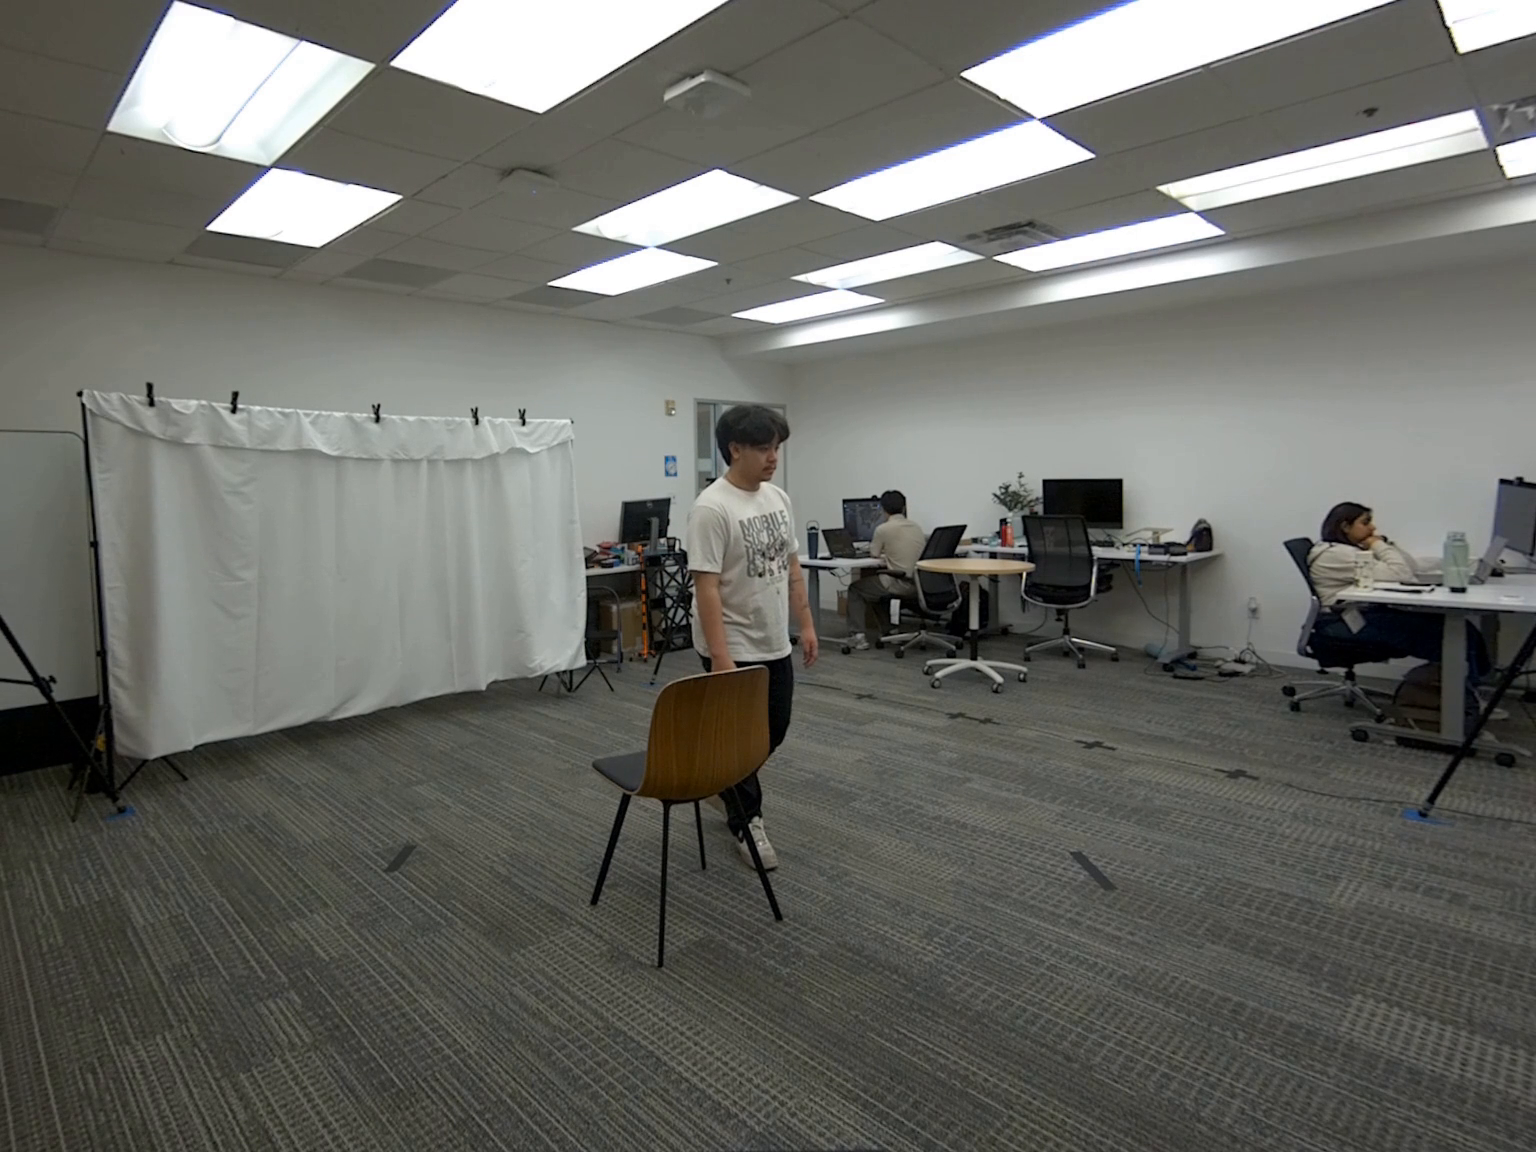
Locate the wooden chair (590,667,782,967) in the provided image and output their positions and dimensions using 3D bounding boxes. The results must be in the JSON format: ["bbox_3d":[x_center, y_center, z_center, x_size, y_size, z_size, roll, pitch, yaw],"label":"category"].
[{"bbox_3d":[-0.282,0.663,2.729,0.466,0.871,0.540,-5,10,-36],"label":"wooden chair"}]
